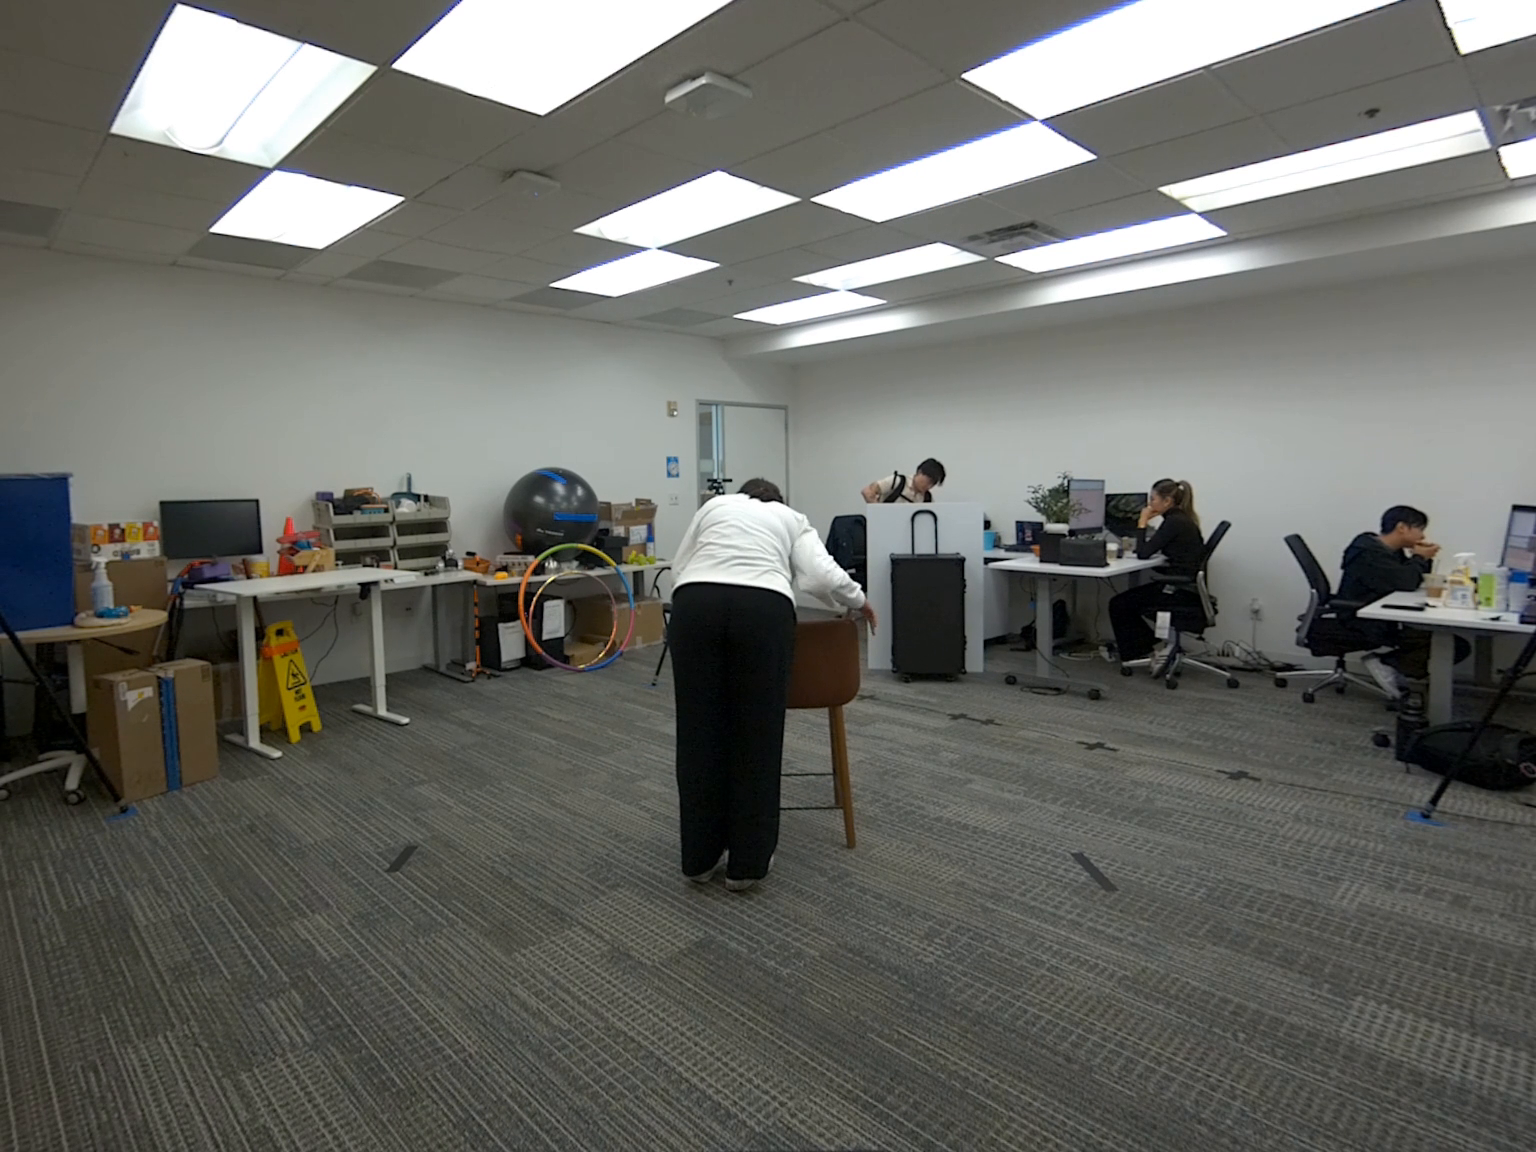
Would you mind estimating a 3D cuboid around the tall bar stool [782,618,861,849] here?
[{"bbox_3d":[0.131,0.574,3.419,0.455,0.886,0.471,0,5,-3],"label":"tall bar stool"}]
